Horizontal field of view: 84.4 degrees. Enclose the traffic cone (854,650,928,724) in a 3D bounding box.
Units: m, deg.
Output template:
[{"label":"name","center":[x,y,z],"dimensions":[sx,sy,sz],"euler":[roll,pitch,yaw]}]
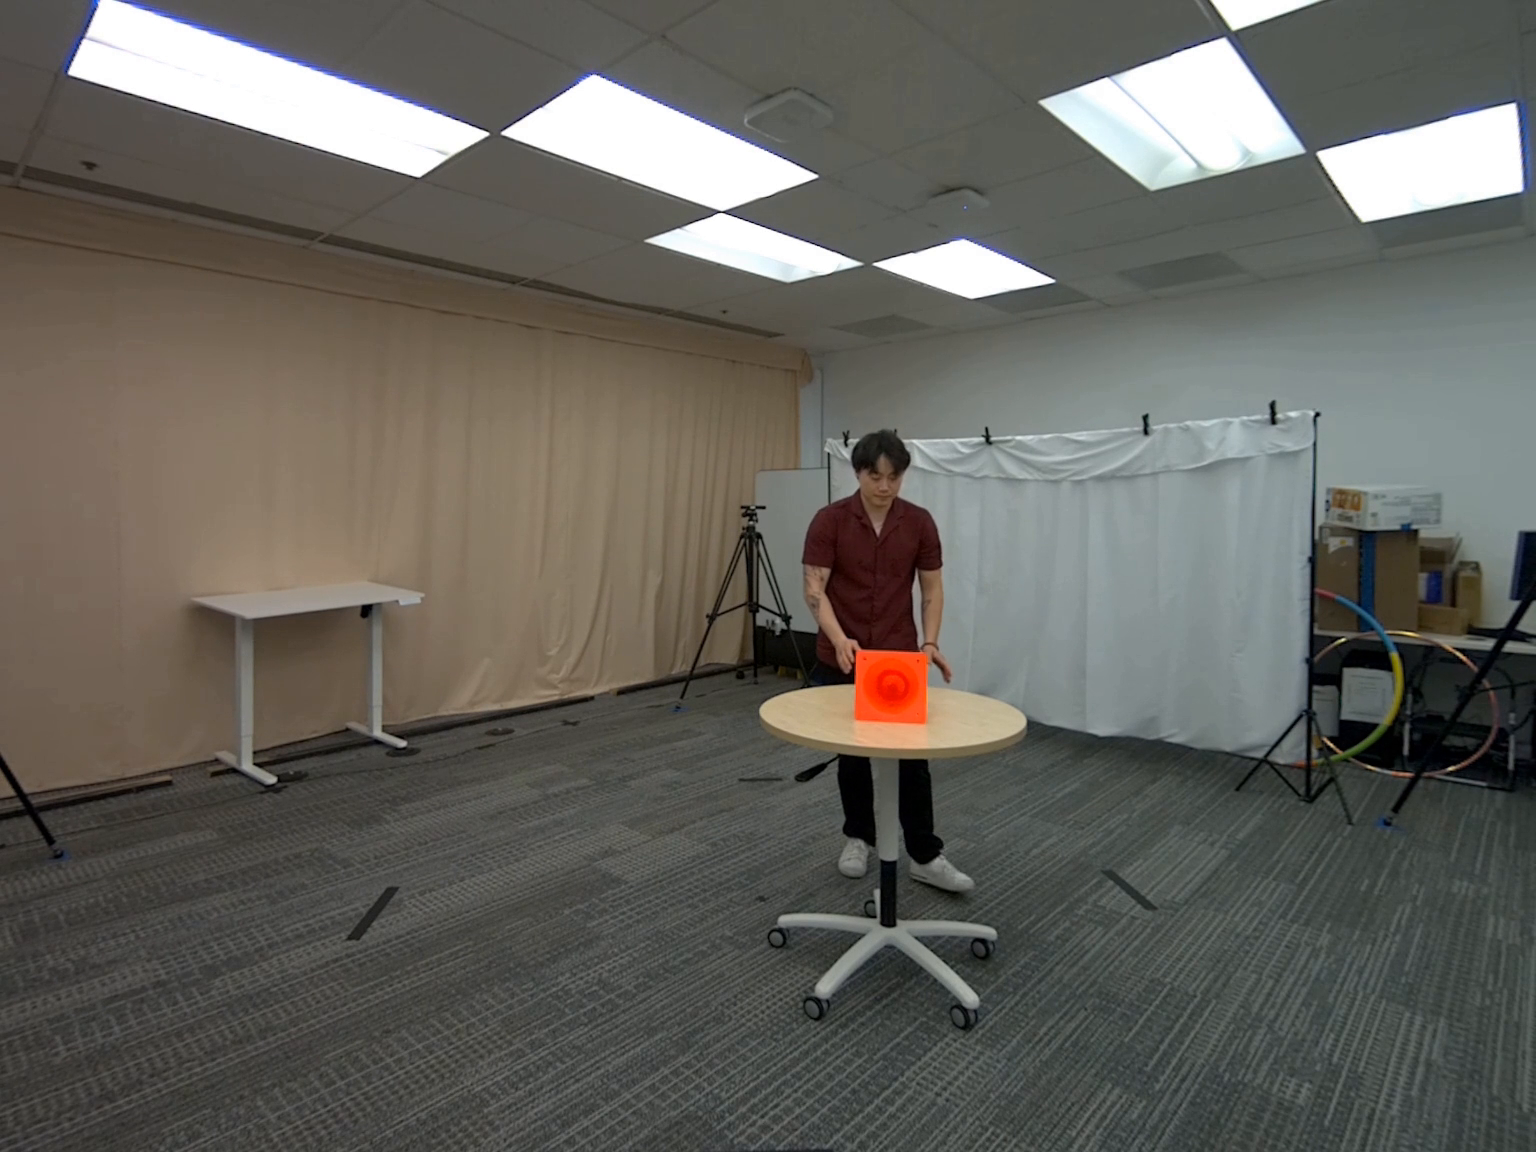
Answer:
[{"label":"traffic cone","center":[0.387,0.328,2.562],"dimensions":[0.206,0.205,0.378],"euler":[10,-4,8]}]
